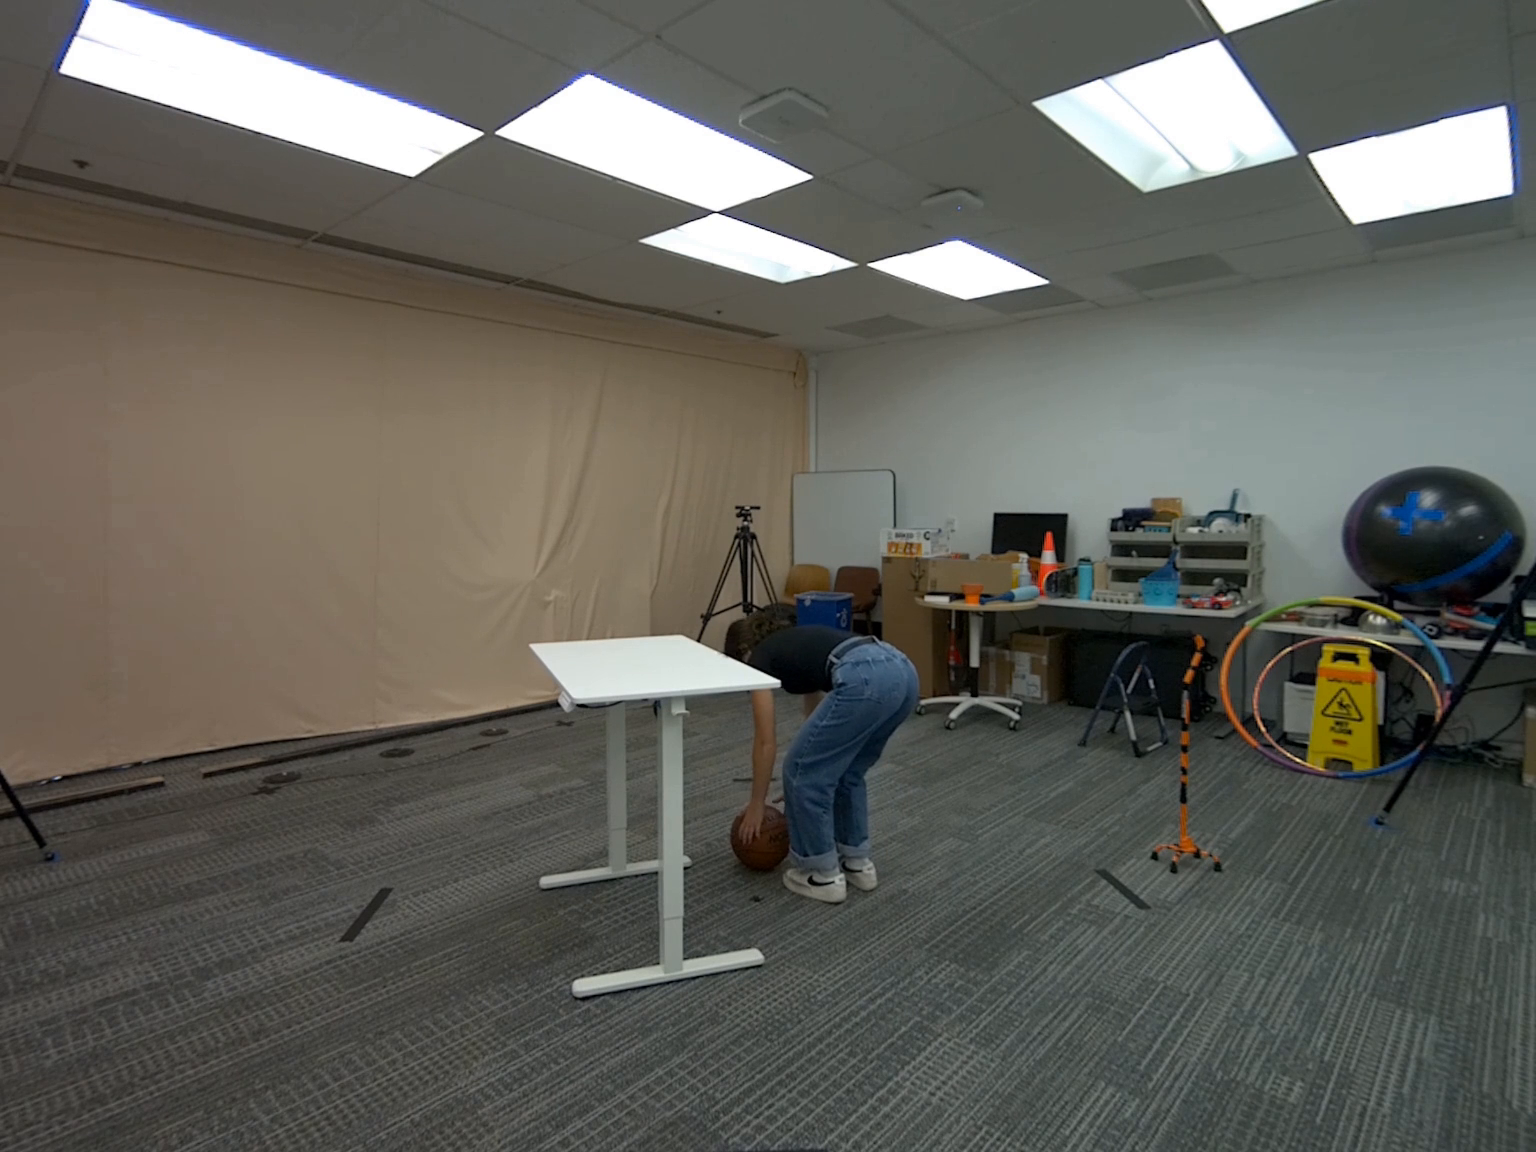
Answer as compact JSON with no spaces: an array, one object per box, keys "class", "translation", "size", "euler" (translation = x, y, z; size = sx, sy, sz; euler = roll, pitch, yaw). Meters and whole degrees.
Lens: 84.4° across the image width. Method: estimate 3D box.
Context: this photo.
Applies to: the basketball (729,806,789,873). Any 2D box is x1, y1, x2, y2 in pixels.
[{"class":"basketball","translation":[-0.021,1.007,3.239],"size":[0.236,0.235,0.237],"euler":[0,4,-2]}]
